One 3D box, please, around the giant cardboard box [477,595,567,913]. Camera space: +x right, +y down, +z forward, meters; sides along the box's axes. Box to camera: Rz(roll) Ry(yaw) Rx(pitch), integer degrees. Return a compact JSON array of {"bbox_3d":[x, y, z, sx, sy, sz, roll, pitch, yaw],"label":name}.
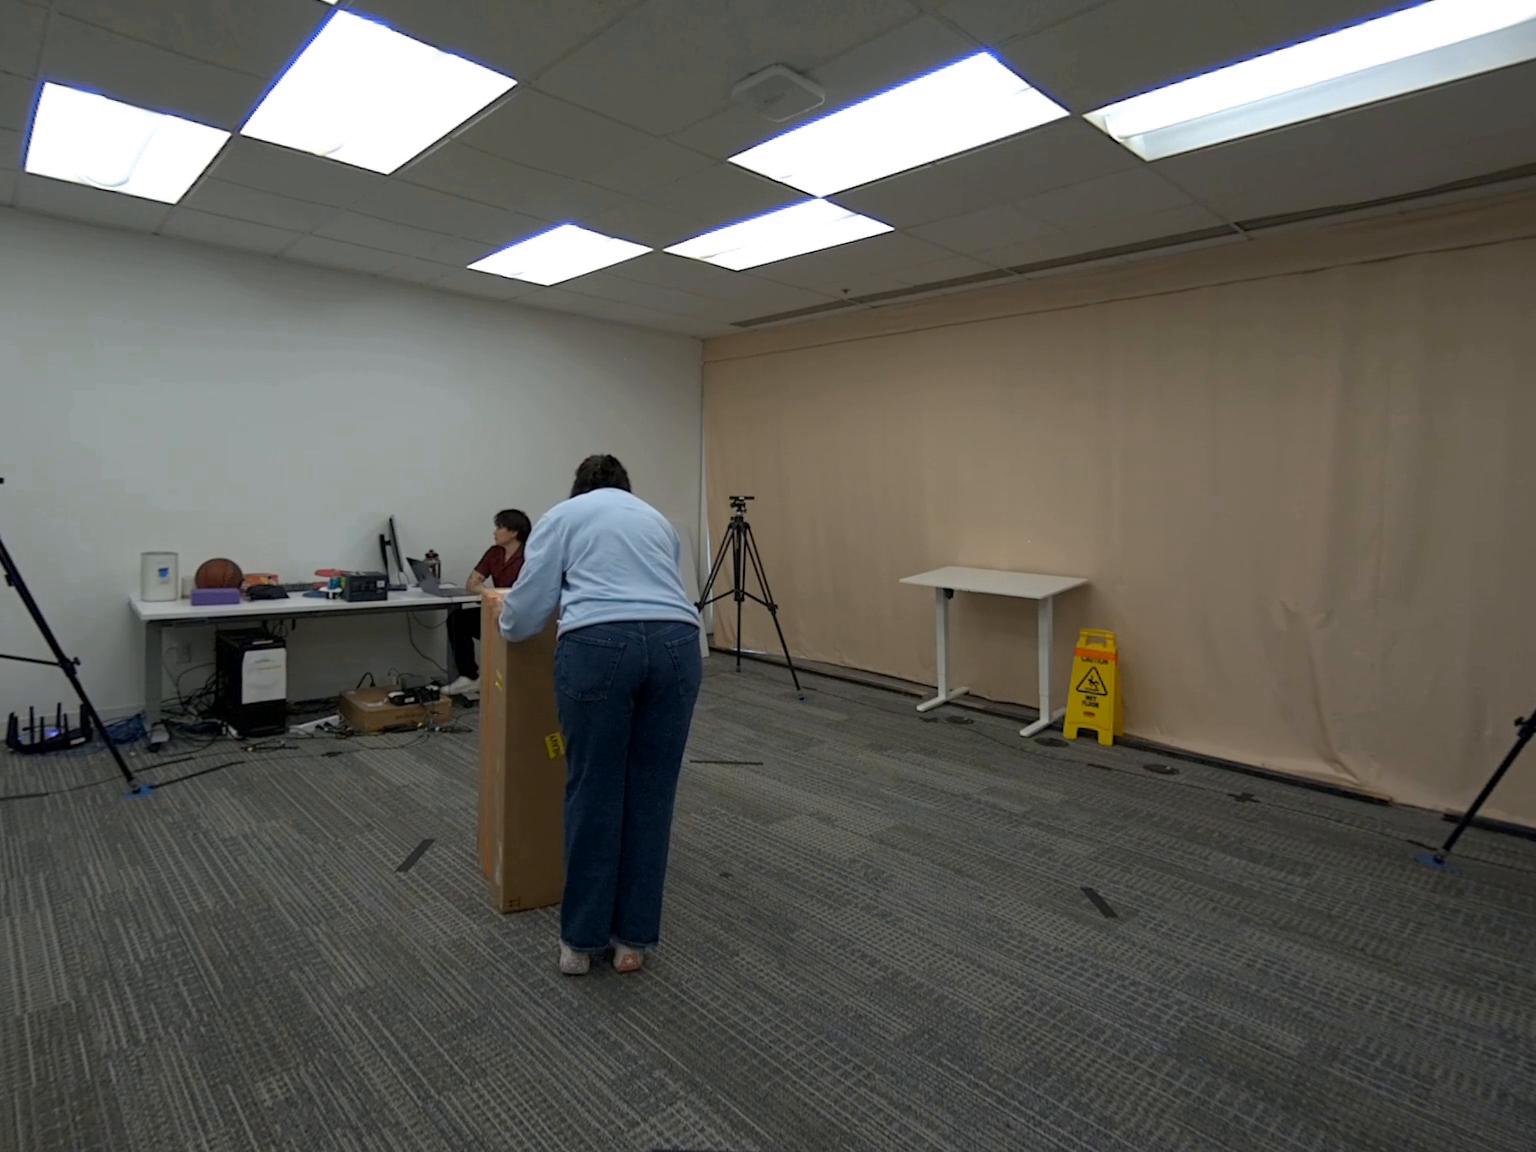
[{"bbox_3d":[-0.820,0.584,3.103,0.418,1.024,0.590,0,3,-27],"label":"giant cardboard box"}]
